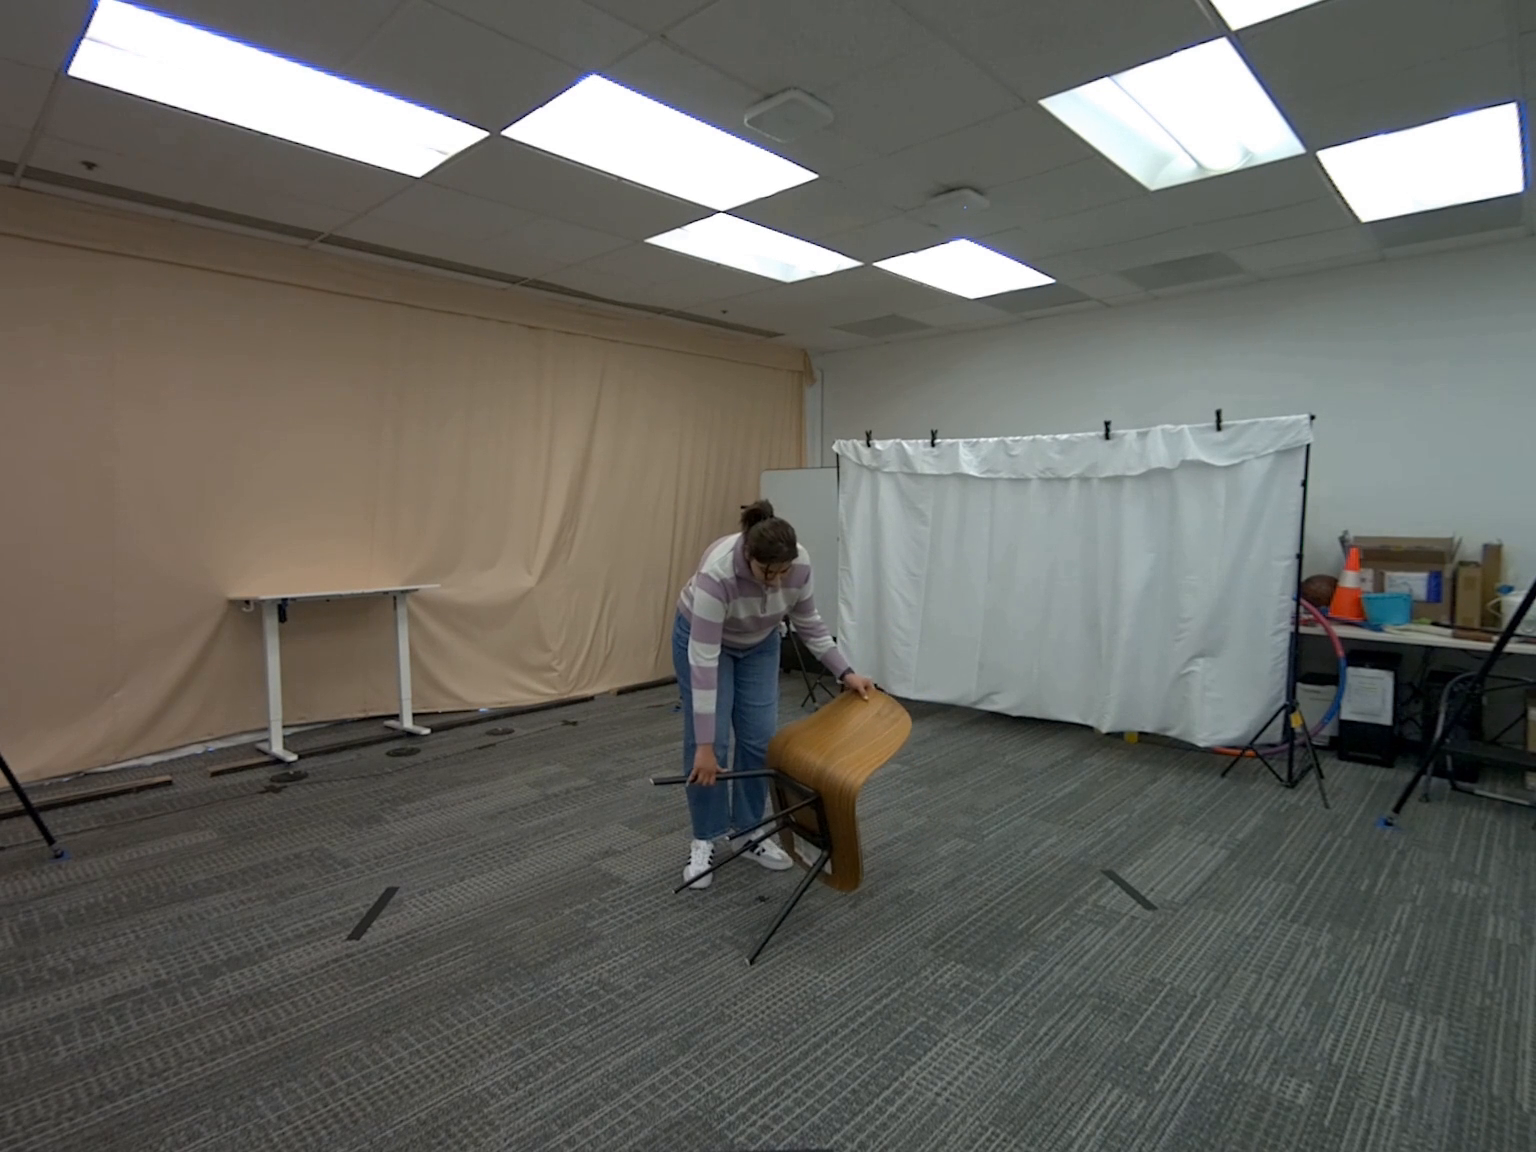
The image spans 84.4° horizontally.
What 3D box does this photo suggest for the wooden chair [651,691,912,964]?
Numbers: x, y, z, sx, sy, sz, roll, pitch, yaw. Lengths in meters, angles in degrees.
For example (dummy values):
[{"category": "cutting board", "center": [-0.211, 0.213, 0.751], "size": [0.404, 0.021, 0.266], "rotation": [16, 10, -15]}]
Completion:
[{"category": "wooden chair", "center": [0.120, 0.808, 2.882], "size": [0.861, 0.515, 0.495], "rotation": [-25, 23, -31]}]
